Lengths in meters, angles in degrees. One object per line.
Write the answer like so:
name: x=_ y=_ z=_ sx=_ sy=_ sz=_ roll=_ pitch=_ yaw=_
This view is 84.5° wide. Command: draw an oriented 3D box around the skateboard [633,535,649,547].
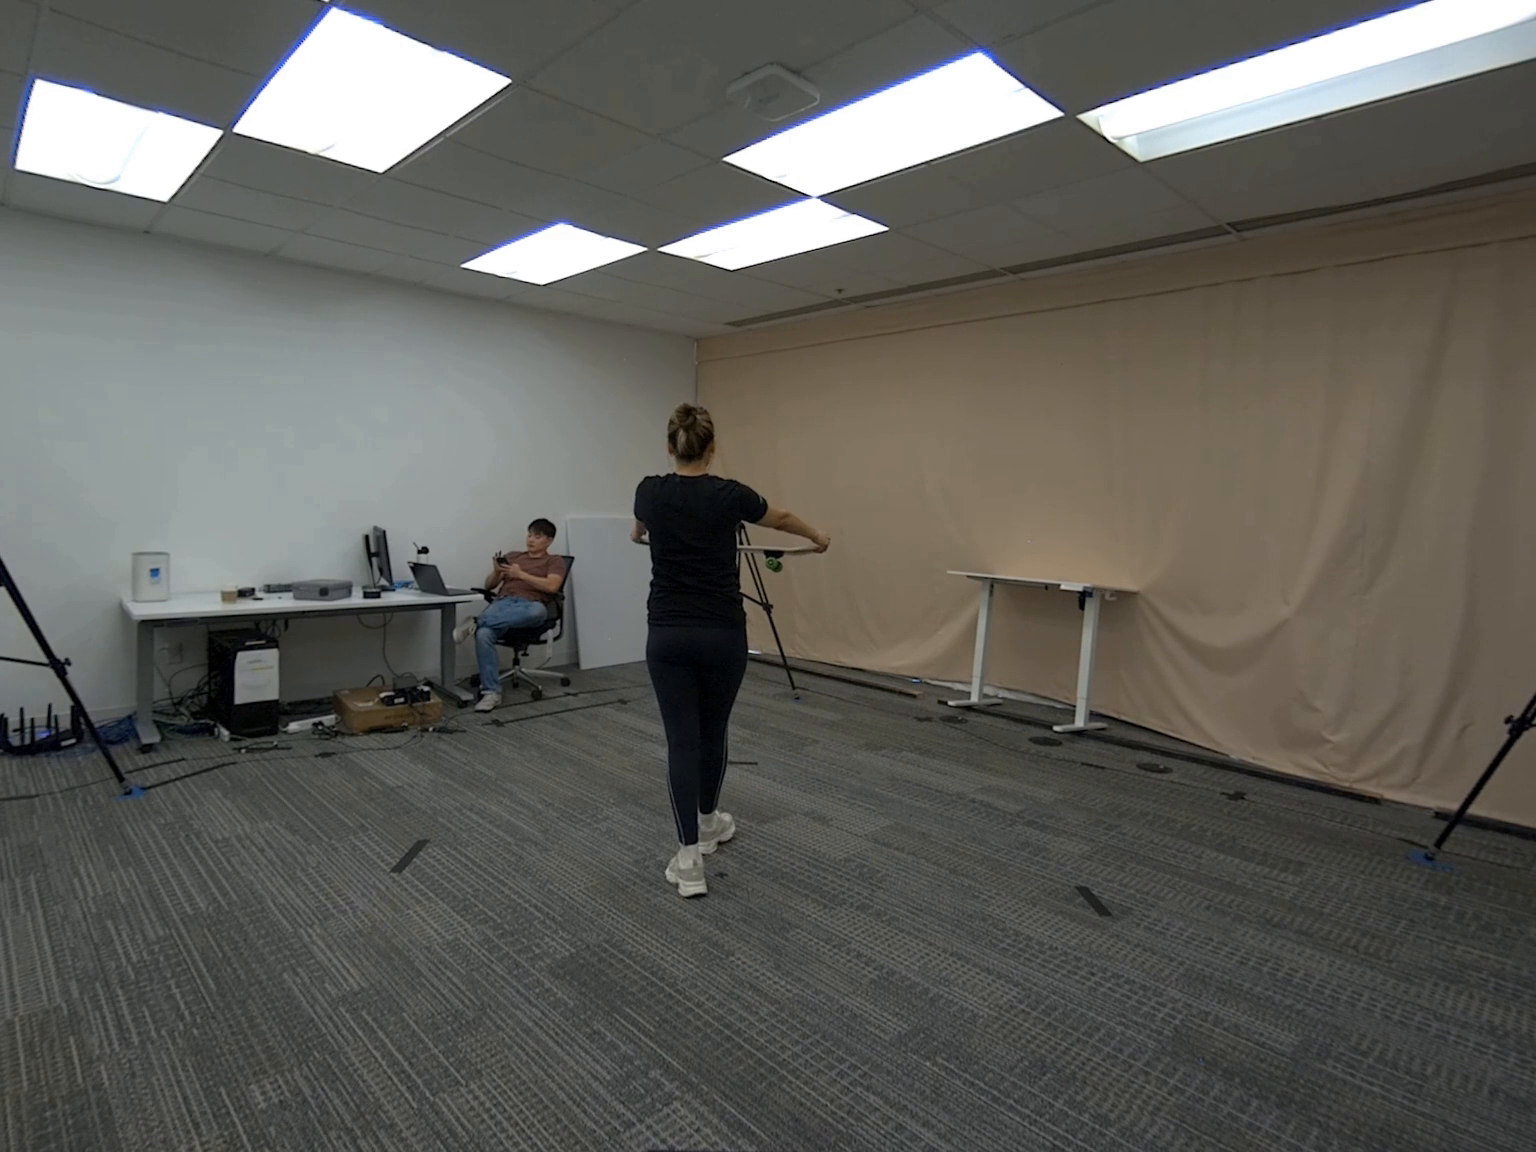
skateboard: x=-0.172 y=-0.088 z=3.596 sx=0.794 sy=0.111 sz=0.191 roll=3 pitch=-5 yaw=12
